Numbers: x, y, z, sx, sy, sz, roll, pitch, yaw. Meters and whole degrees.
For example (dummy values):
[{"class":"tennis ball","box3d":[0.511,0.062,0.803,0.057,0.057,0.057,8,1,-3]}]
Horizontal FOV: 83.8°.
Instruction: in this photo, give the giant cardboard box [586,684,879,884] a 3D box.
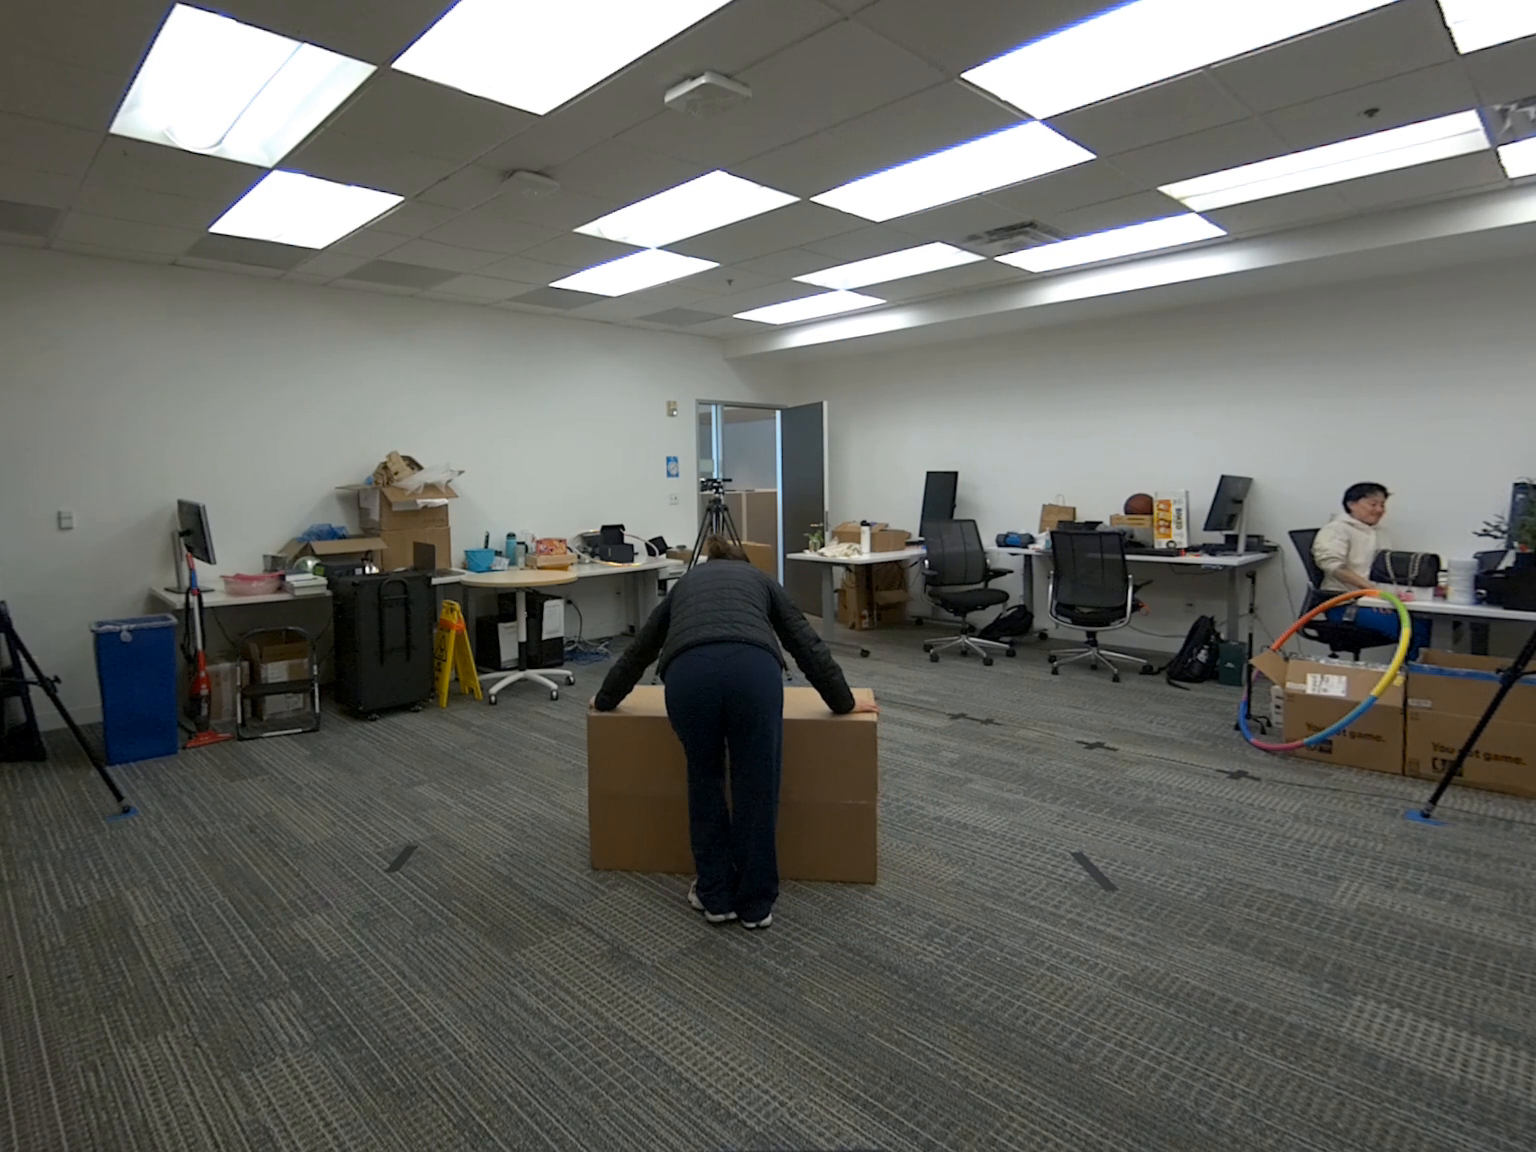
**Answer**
[{"class":"giant cardboard box","box3d":[-0.124,0.745,3.215,1.035,0.581,0.446,0,7,8]}]
